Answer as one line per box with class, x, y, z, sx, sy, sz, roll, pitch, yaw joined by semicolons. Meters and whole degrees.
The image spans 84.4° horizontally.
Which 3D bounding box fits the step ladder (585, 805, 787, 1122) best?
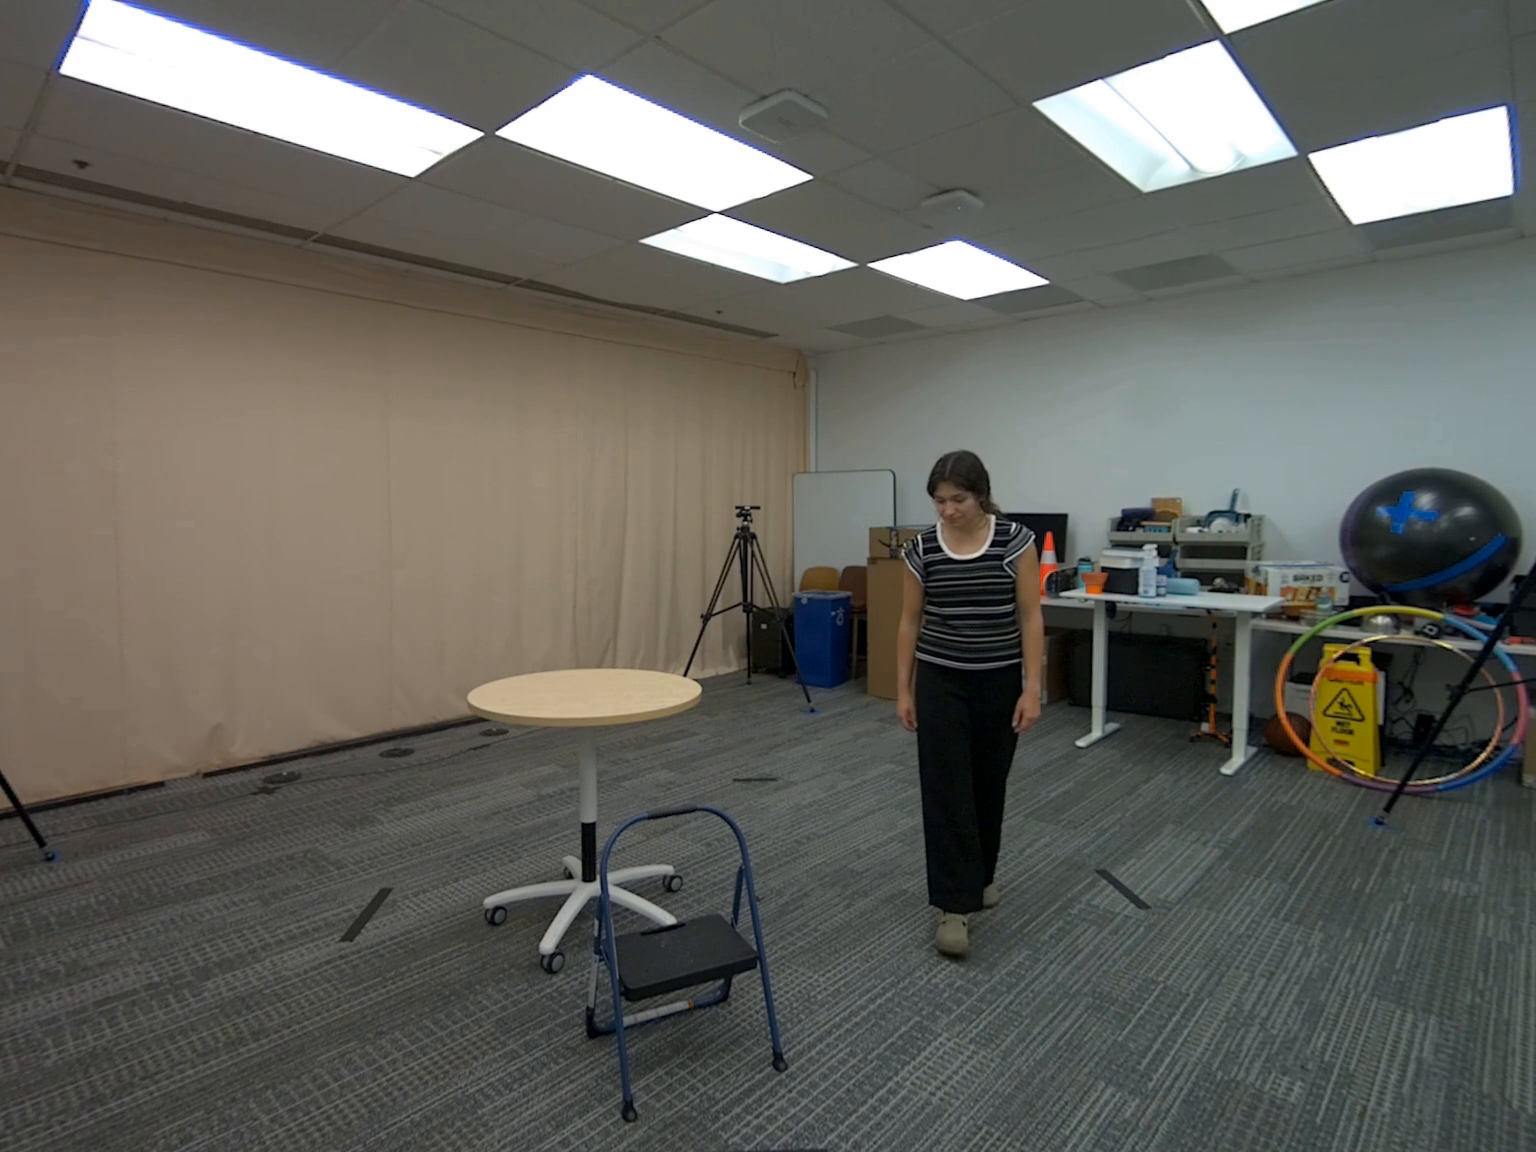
step ladder;-0.214;0.914;2.134;0.420;0.605;0.359;-1;4;-28
